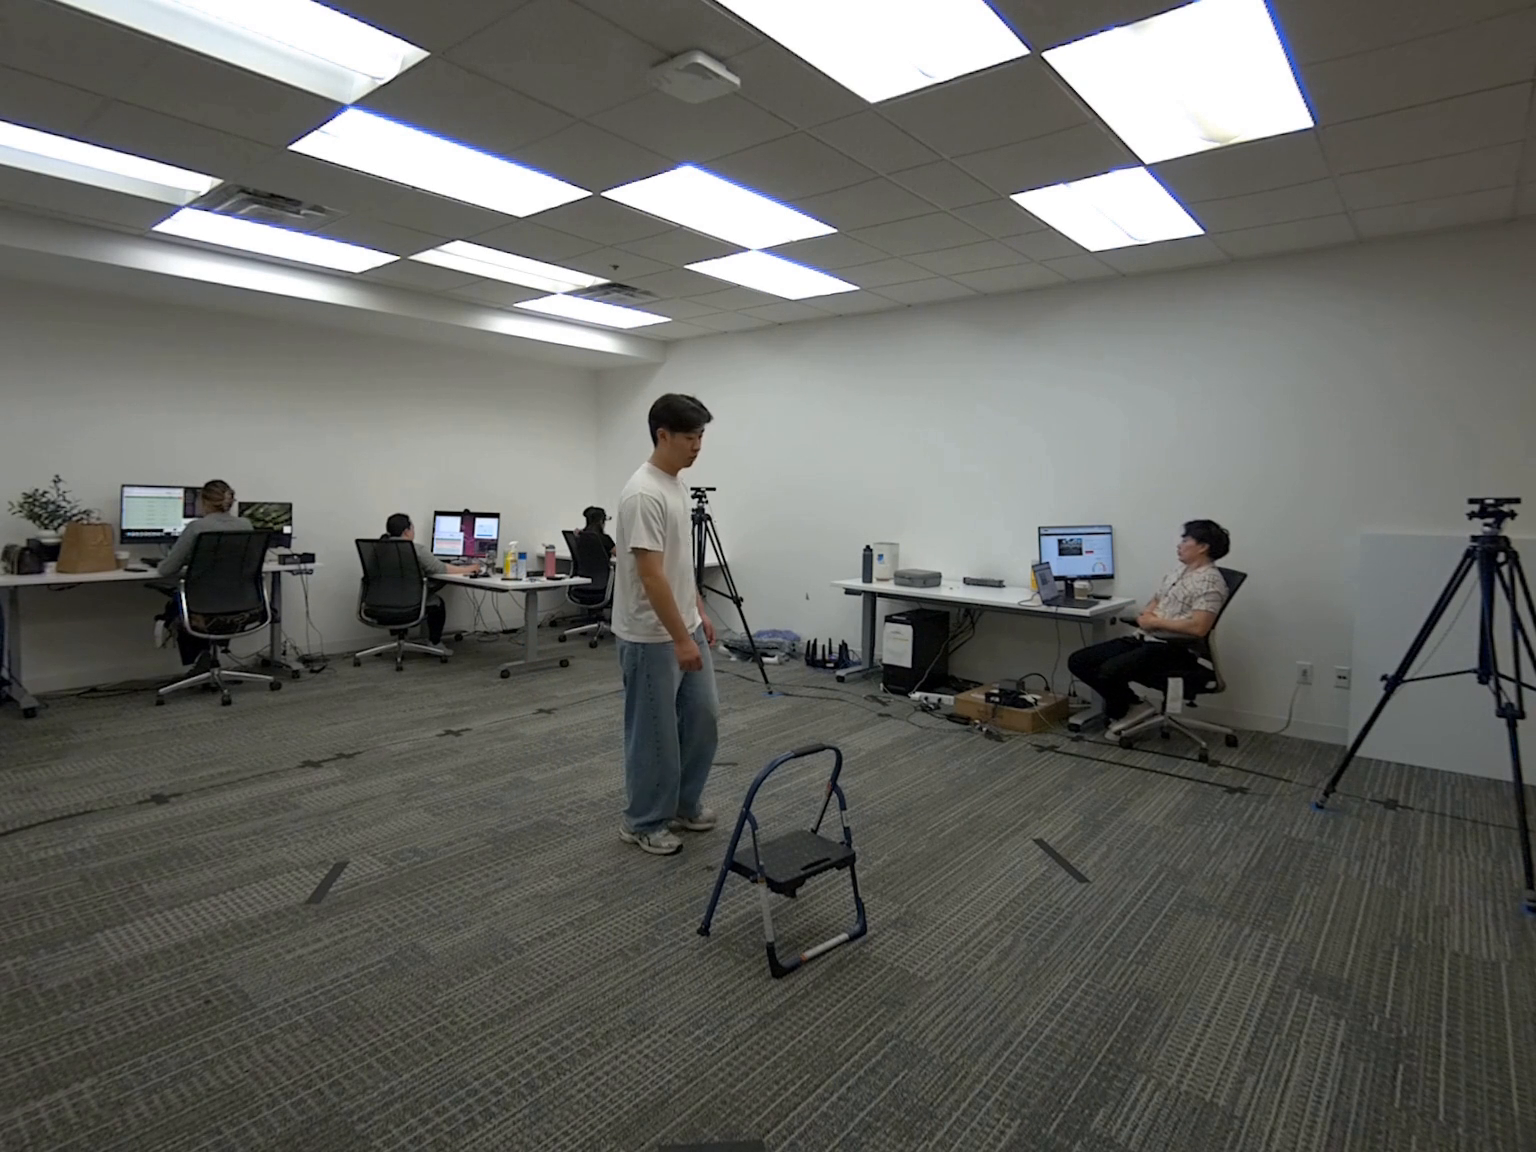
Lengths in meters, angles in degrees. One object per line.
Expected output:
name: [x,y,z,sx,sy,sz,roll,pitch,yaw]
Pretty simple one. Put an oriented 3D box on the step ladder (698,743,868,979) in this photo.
step ladder: [0.050,0.812,2.652,0.417,0.604,0.361,-2,5,-44]
